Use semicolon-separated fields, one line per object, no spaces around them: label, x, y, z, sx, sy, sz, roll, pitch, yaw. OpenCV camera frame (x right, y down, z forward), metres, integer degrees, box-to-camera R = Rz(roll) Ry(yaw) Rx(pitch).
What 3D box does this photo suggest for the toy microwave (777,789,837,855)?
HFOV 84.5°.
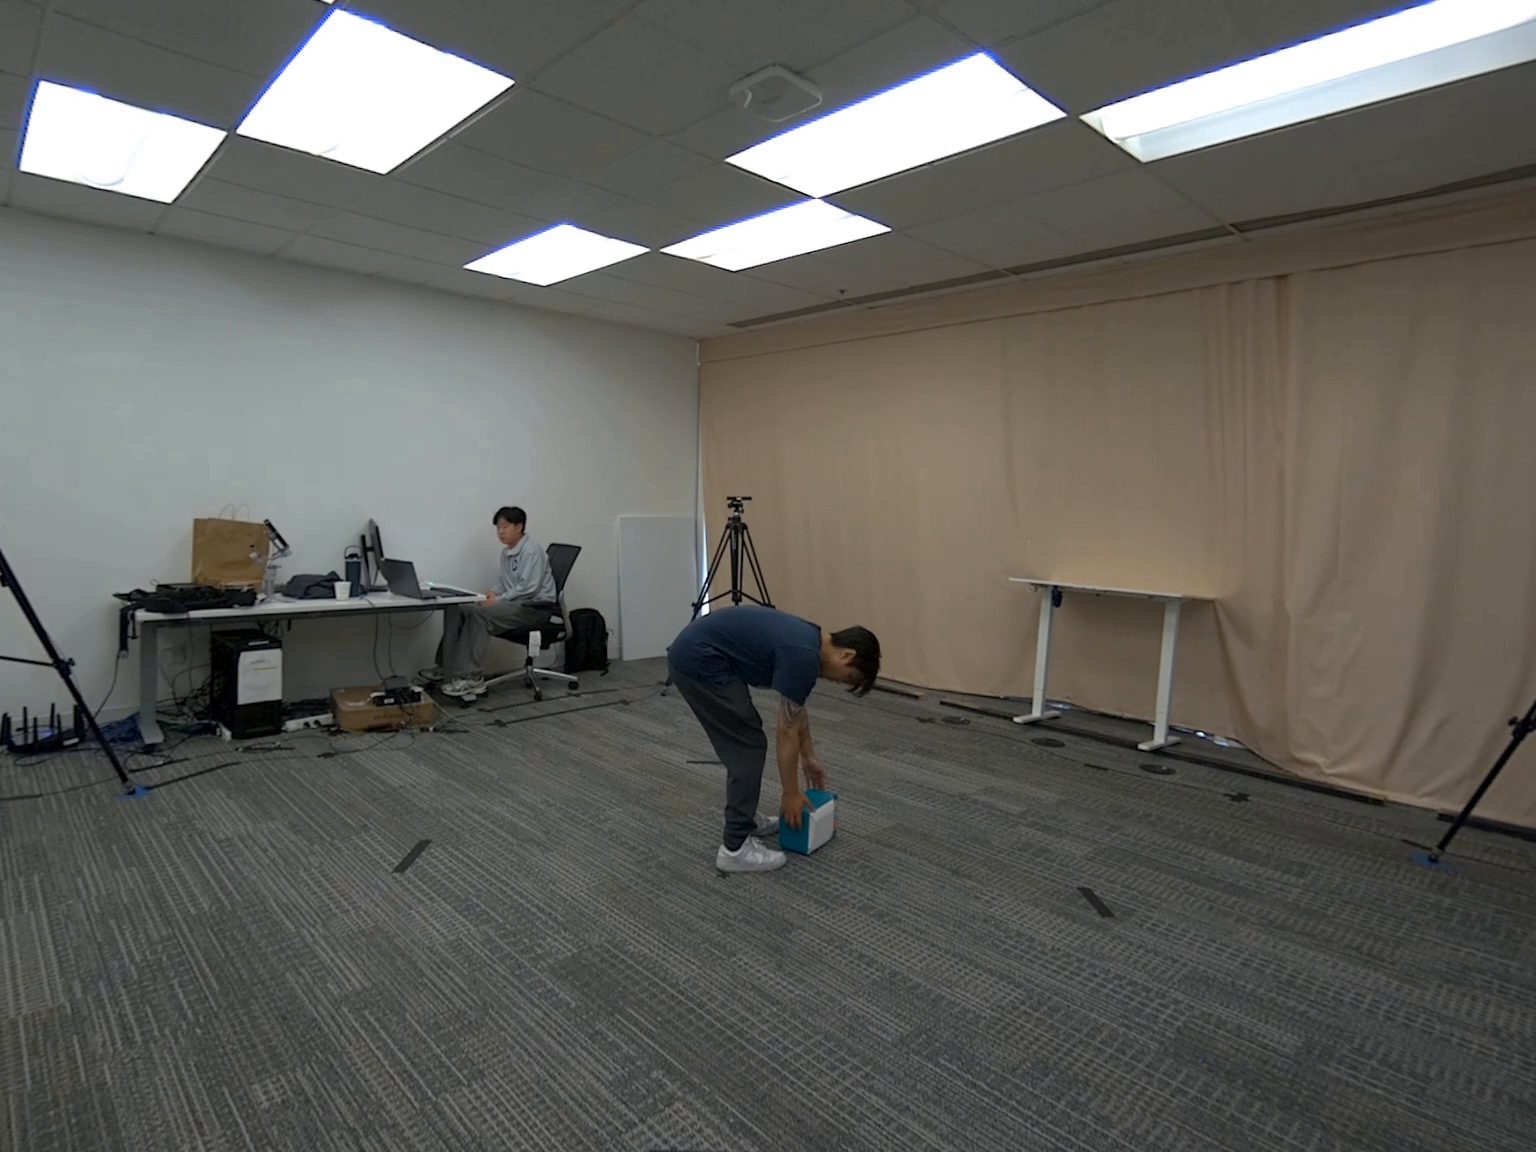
toy microwave;0.162;0.994;3.417;0.156;0.183;0.280;4;5;31
